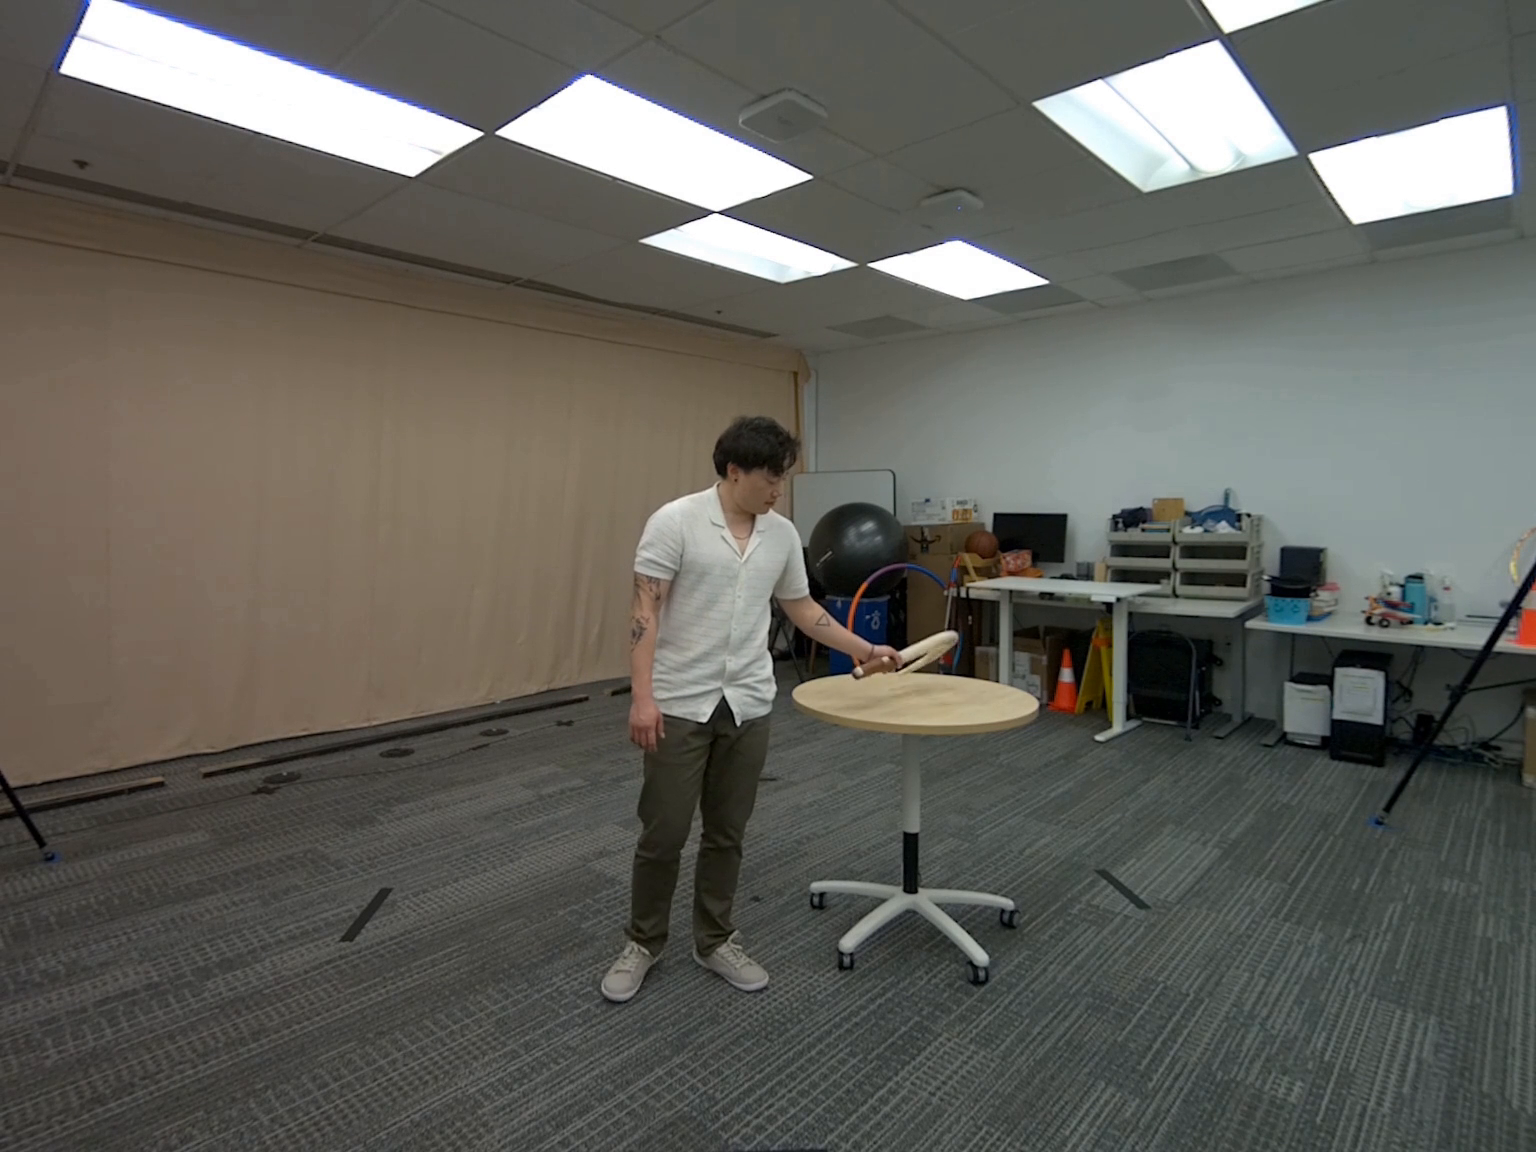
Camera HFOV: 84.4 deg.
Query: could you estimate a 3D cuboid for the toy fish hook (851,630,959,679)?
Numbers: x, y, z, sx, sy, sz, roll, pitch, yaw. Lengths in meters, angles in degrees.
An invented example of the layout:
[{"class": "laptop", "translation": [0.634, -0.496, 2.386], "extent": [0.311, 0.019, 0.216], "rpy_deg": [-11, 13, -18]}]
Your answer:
[{"class": "toy fish hook", "translation": [0.411, 0.276, 2.650], "extent": [0.493, 0.224, 0.050], "rpy_deg": [-12, 54, -39]}]
